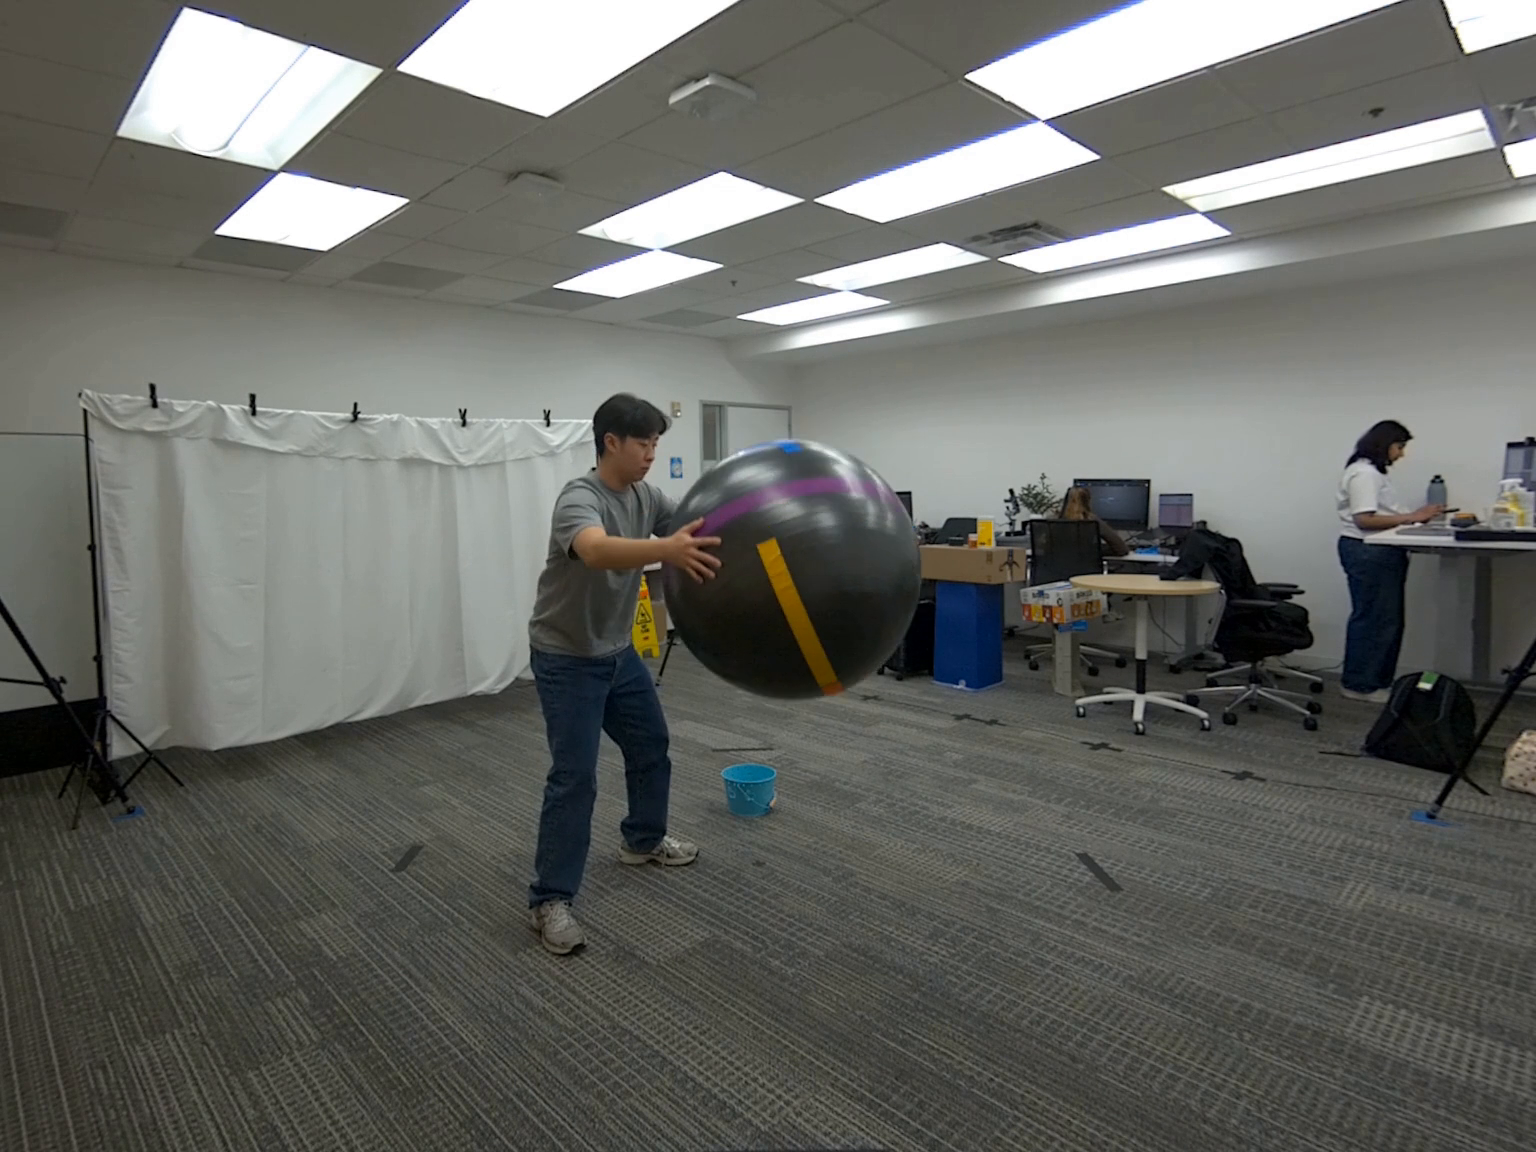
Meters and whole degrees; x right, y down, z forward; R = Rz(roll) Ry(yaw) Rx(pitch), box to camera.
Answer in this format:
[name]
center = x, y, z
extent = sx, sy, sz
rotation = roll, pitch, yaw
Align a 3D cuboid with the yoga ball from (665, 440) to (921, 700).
[yoga ball]
center = 0.058, -0.004, 2.509
extent = 0.757, 0.755, 0.762
rotation = -1, 5, -2
